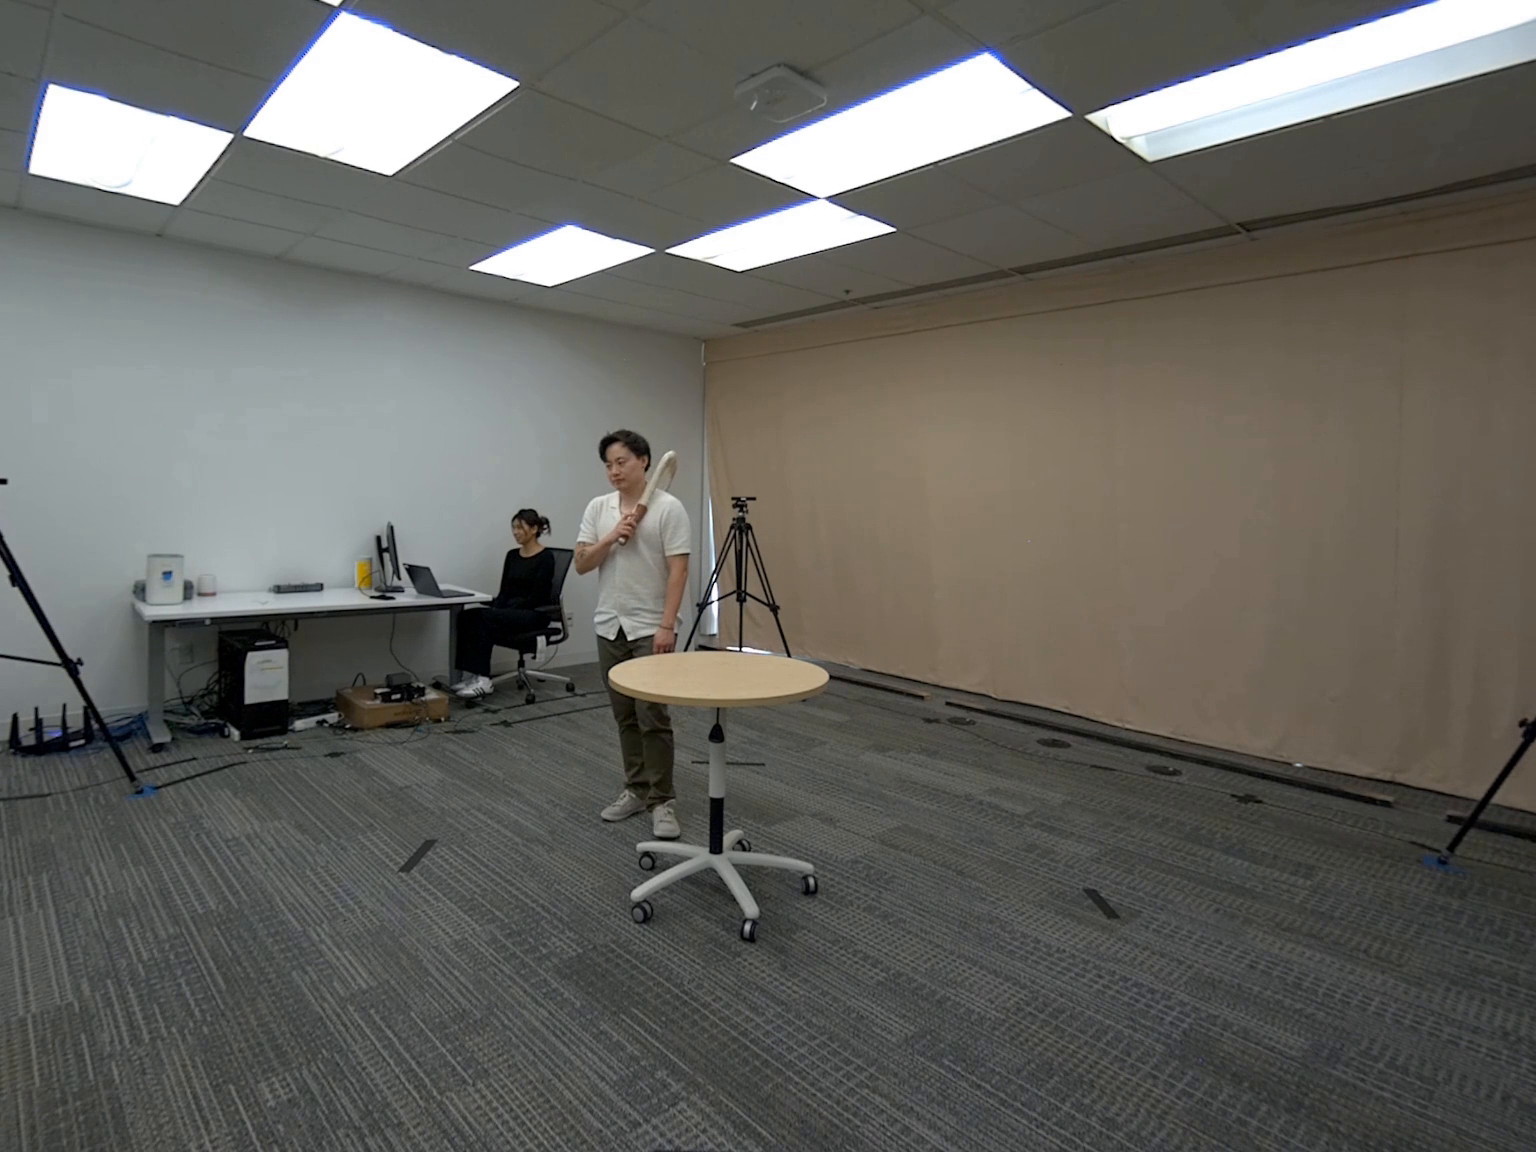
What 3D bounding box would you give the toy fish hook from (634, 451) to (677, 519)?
[{"bbox_3d":[-0.516,-0.319,3.625,0.049,0.511,0.219,15,-27,15],"label":"toy fish hook"}]
